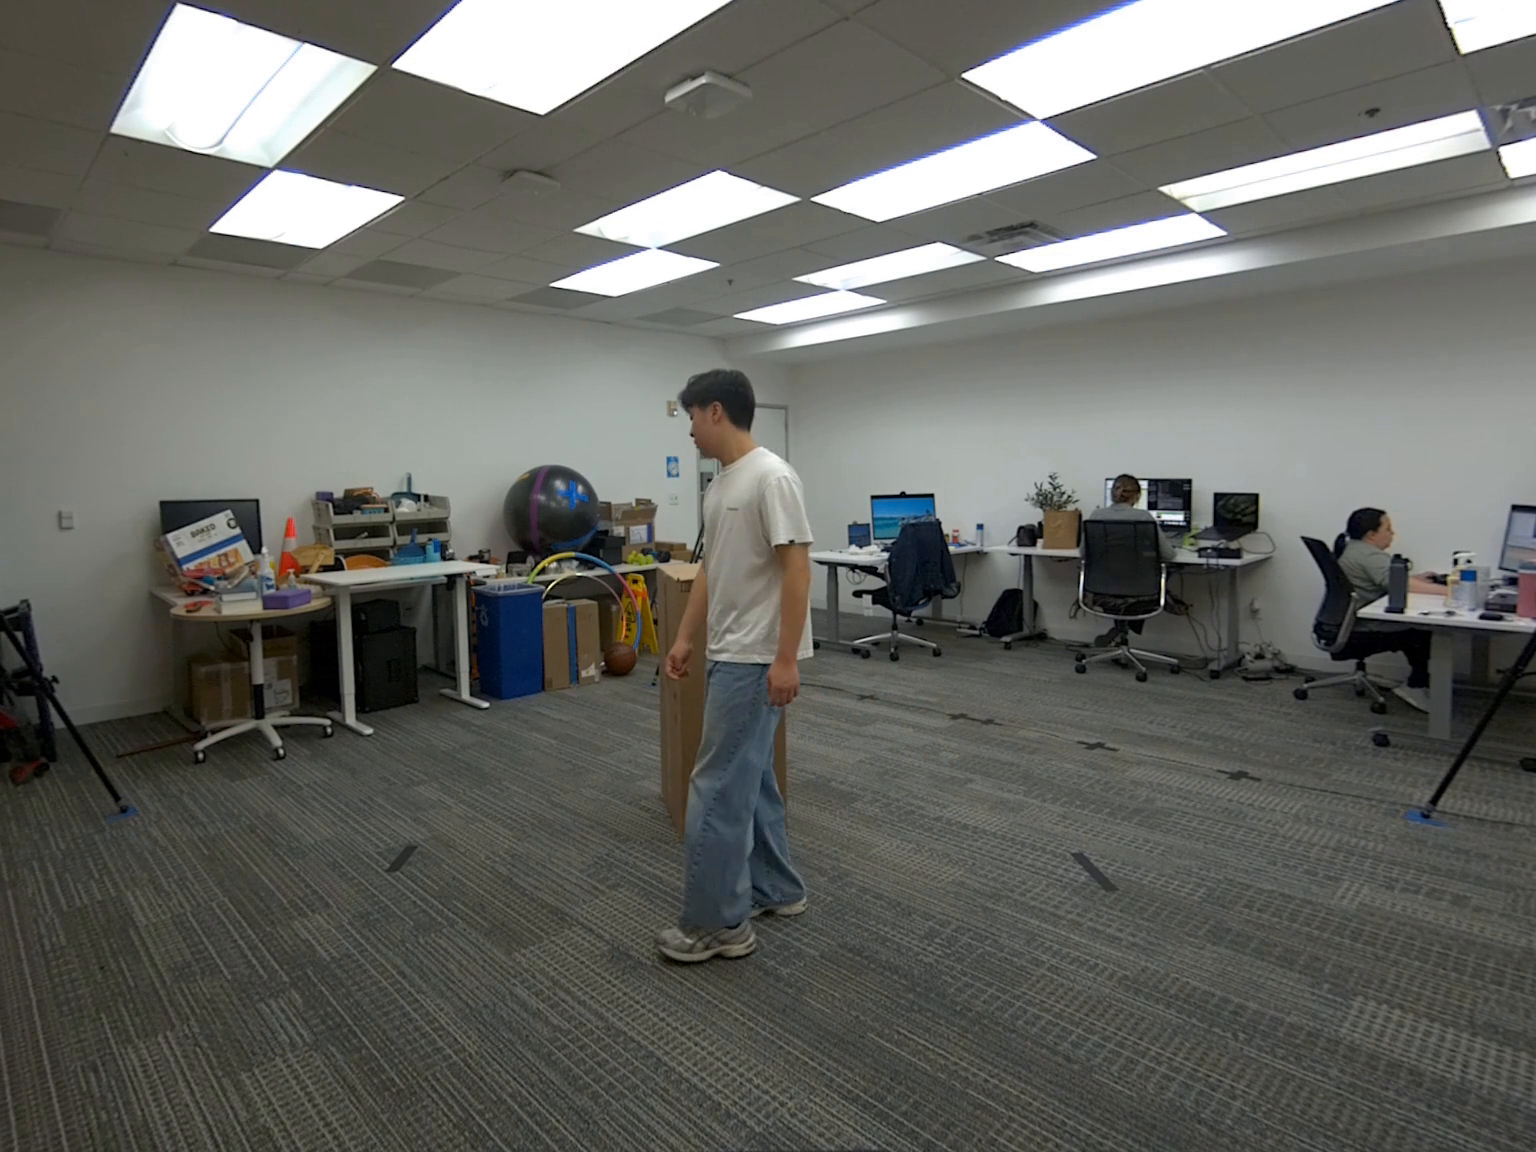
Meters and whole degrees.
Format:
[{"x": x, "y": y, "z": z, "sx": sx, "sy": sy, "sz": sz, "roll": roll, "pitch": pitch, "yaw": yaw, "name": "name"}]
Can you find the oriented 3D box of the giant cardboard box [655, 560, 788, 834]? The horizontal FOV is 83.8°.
[{"x": -0.206, "y": 0.486, "z": 3.571, "sx": 0.420, "sy": 1.022, "sz": 0.587, "roll": -2, "pitch": 4, "yaw": -15, "name": "giant cardboard box"}]
